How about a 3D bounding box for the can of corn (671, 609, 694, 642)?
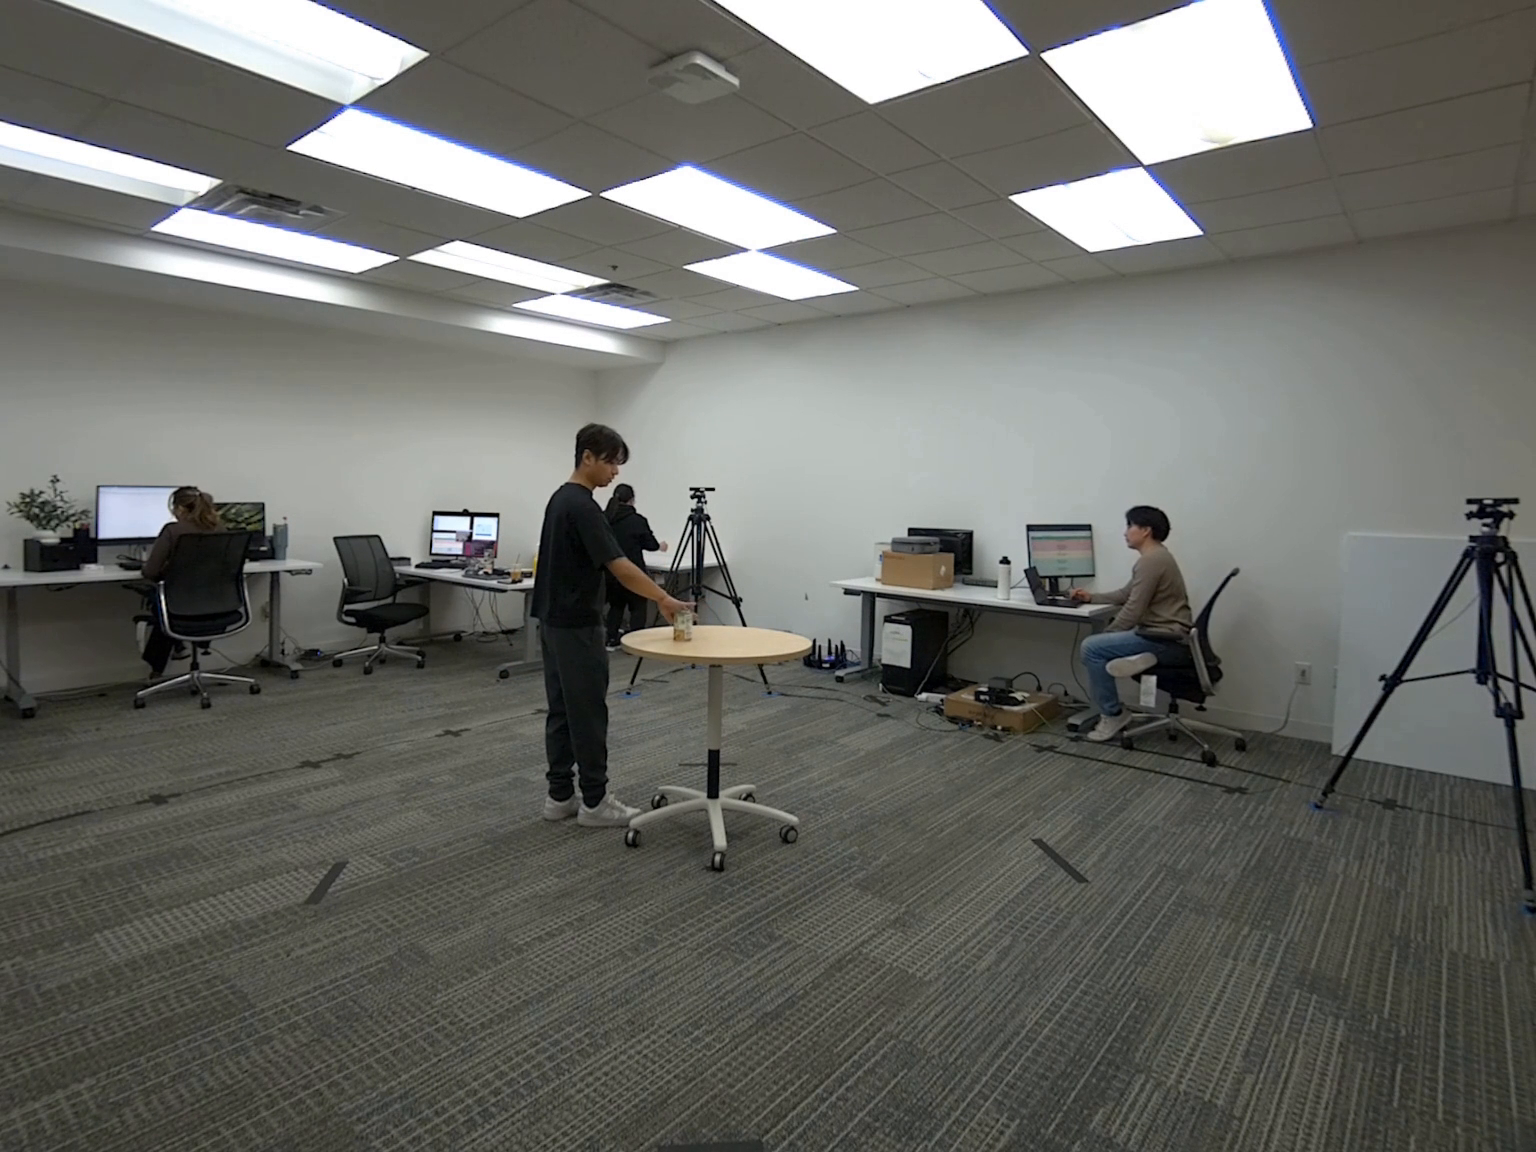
[{"bbox_3d":[-0.348,0.196,3.414,0.074,0.111,0.074,1,2,-2],"label":"can of corn"}]
